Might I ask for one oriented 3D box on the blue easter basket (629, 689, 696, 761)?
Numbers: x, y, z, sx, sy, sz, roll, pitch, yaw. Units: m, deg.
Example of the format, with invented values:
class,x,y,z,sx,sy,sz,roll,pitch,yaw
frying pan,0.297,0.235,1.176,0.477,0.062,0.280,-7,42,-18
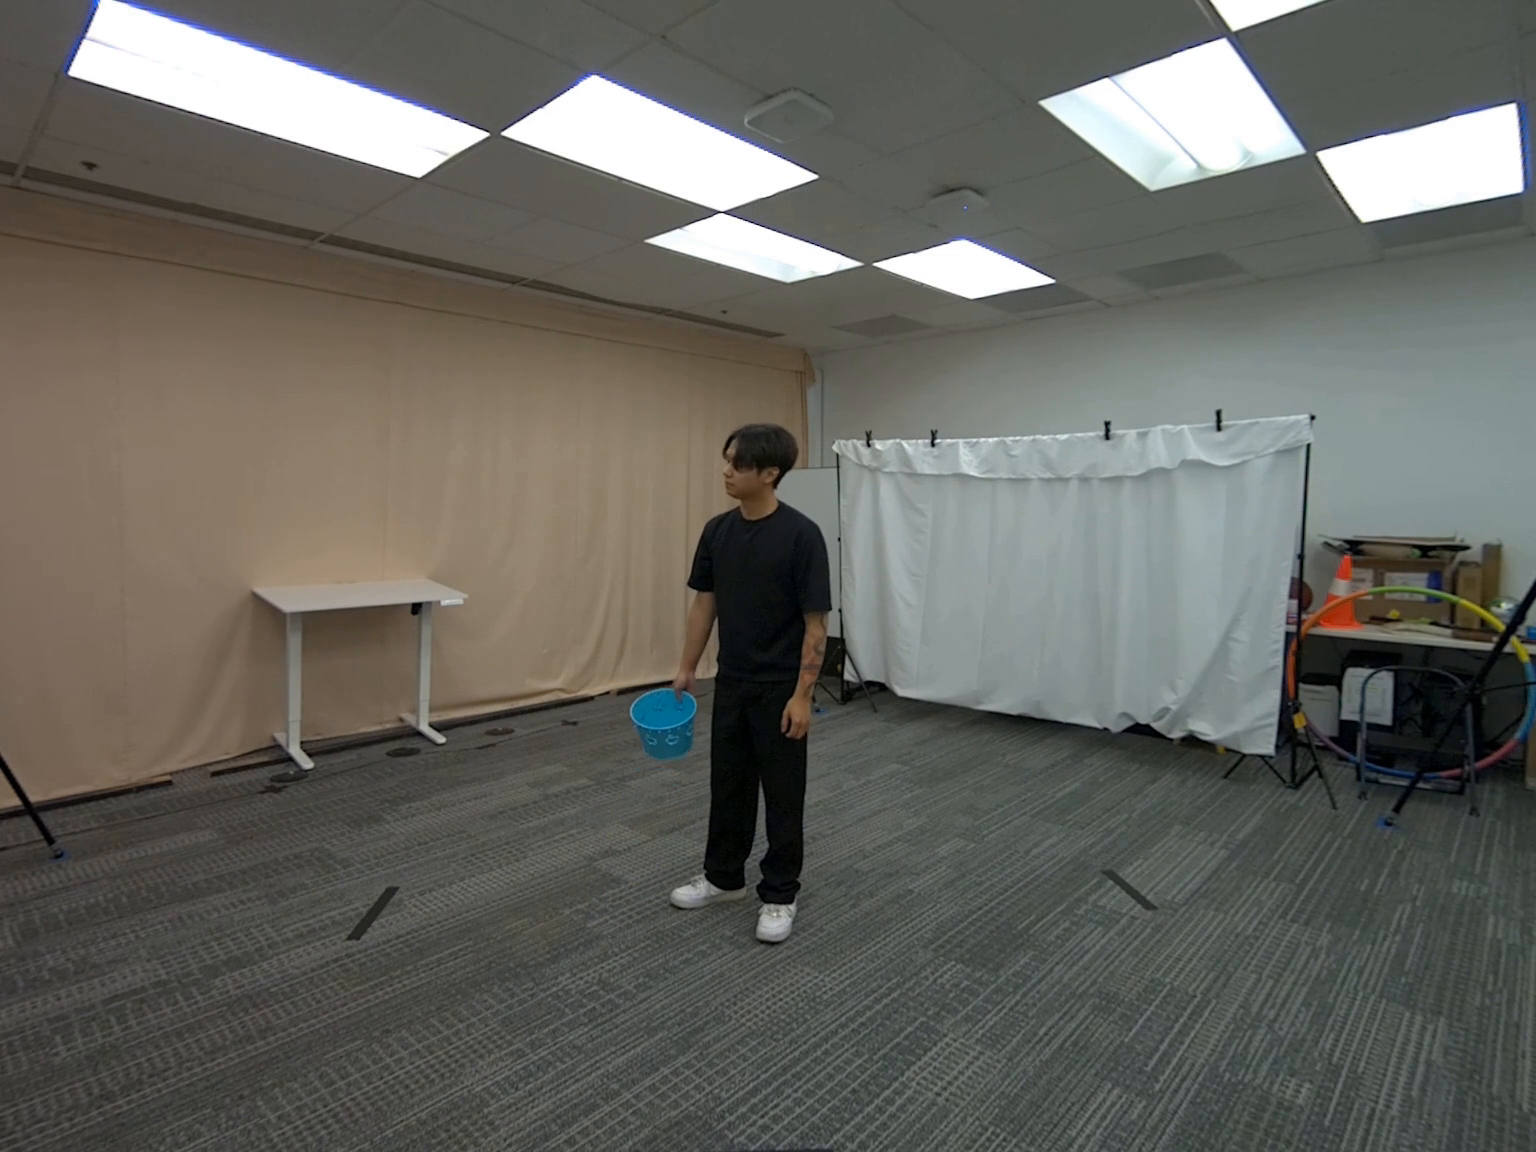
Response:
class,x,y,z,sx,sy,sz,roll,pitch,yaw
blue easter basket,-0.350,0.521,2.954,0.244,0.153,0.247,-5,26,0
